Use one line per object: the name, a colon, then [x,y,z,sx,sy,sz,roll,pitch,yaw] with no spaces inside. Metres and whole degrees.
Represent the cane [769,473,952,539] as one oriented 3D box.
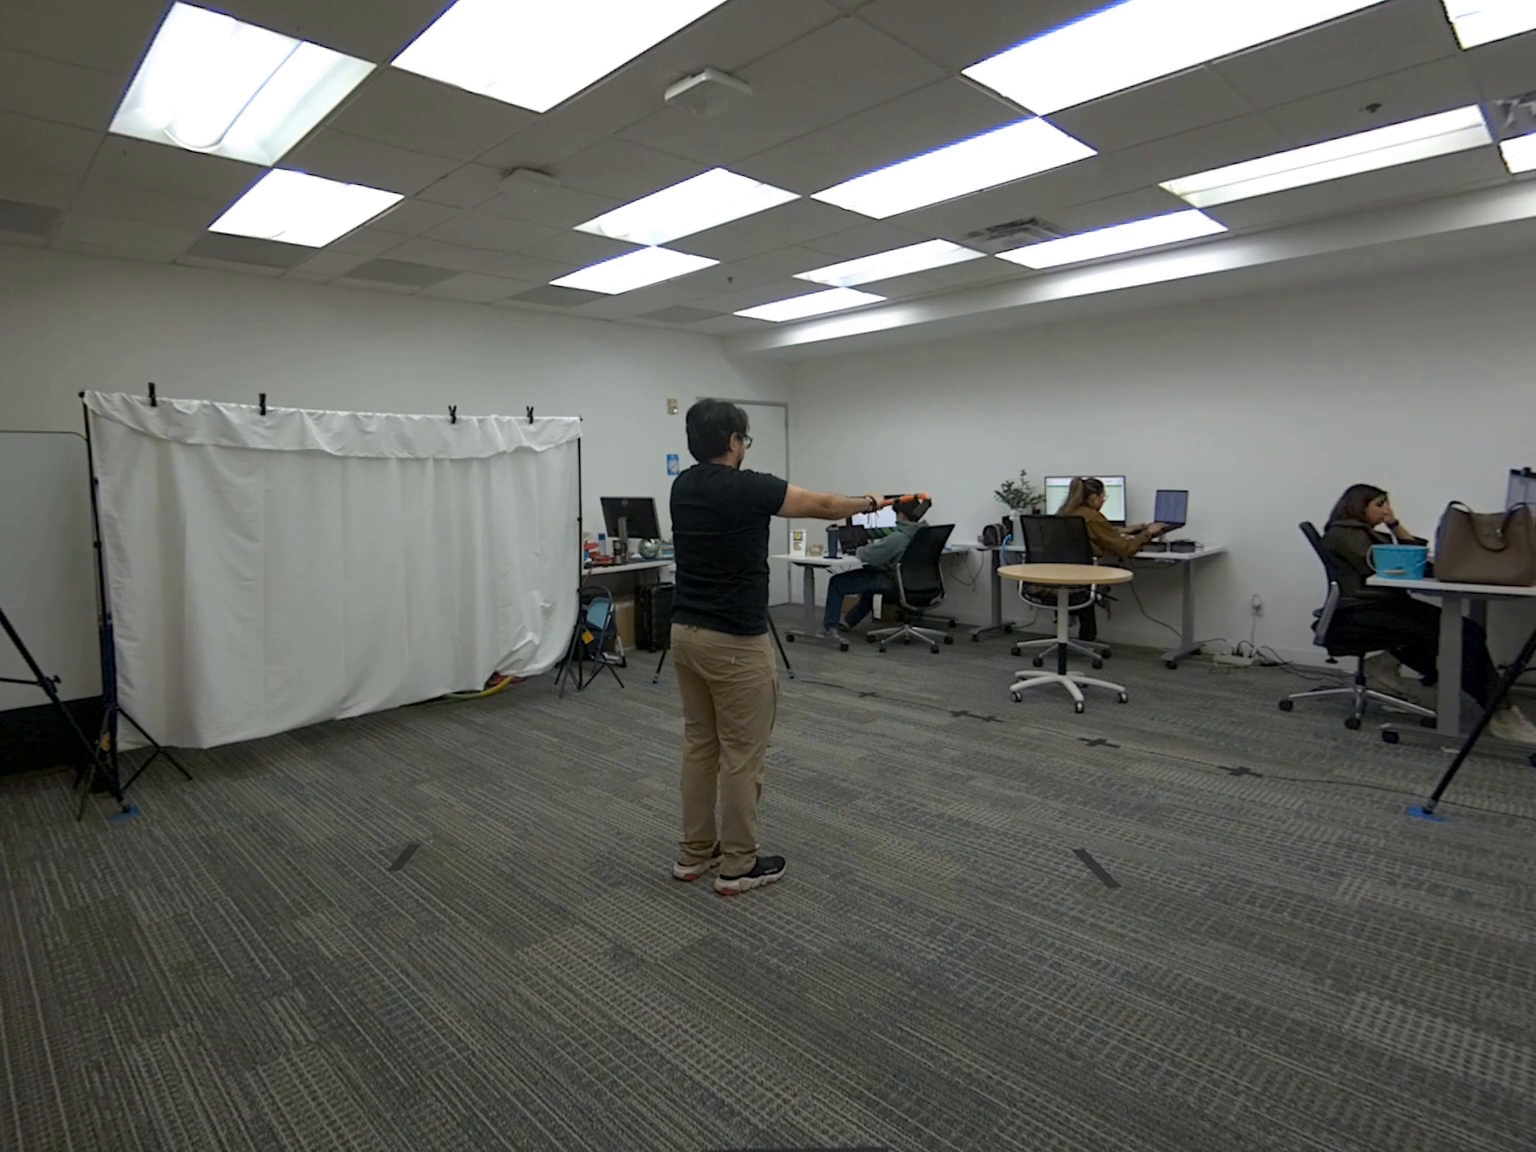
cane: [0.236,-0.265,3.321,0.935,0.148,0.205,3,31,42]
